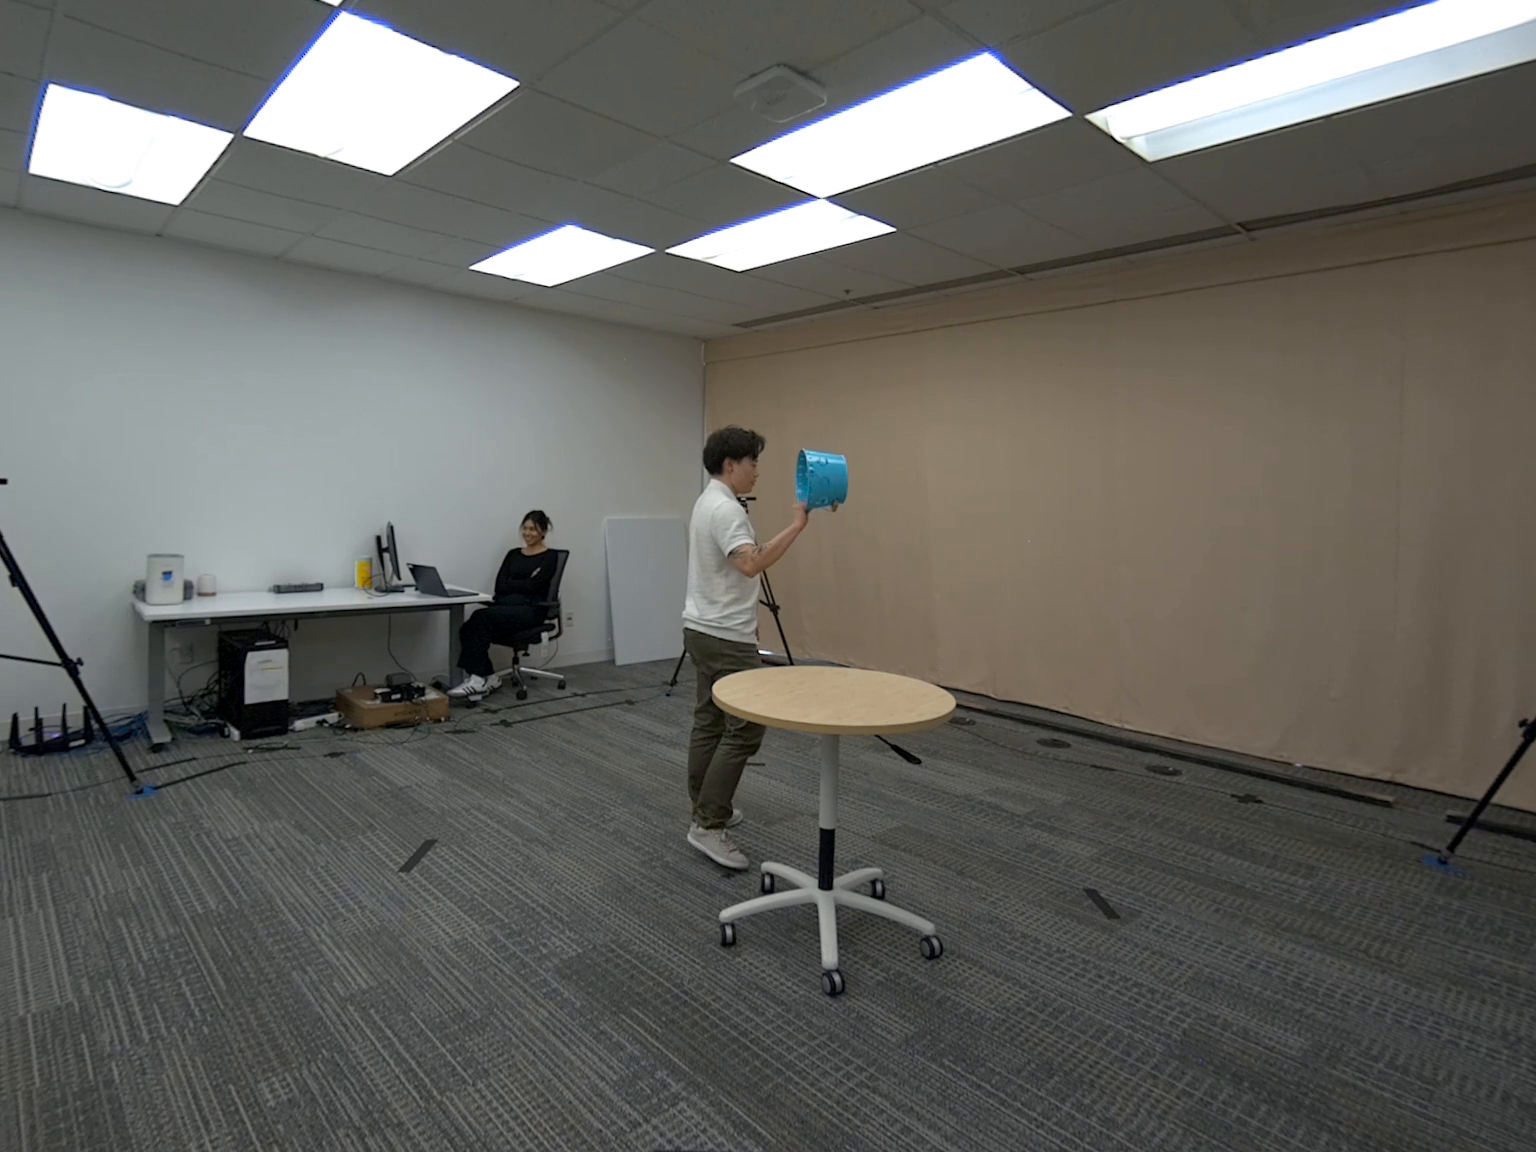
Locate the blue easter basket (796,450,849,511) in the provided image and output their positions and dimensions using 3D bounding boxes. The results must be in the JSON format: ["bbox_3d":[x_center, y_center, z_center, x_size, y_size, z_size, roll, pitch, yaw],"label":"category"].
[{"bbox_3d":[0.190,-0.346,3.132,0.155,0.243,0.246,-1,4,-8],"label":"blue easter basket"}]
